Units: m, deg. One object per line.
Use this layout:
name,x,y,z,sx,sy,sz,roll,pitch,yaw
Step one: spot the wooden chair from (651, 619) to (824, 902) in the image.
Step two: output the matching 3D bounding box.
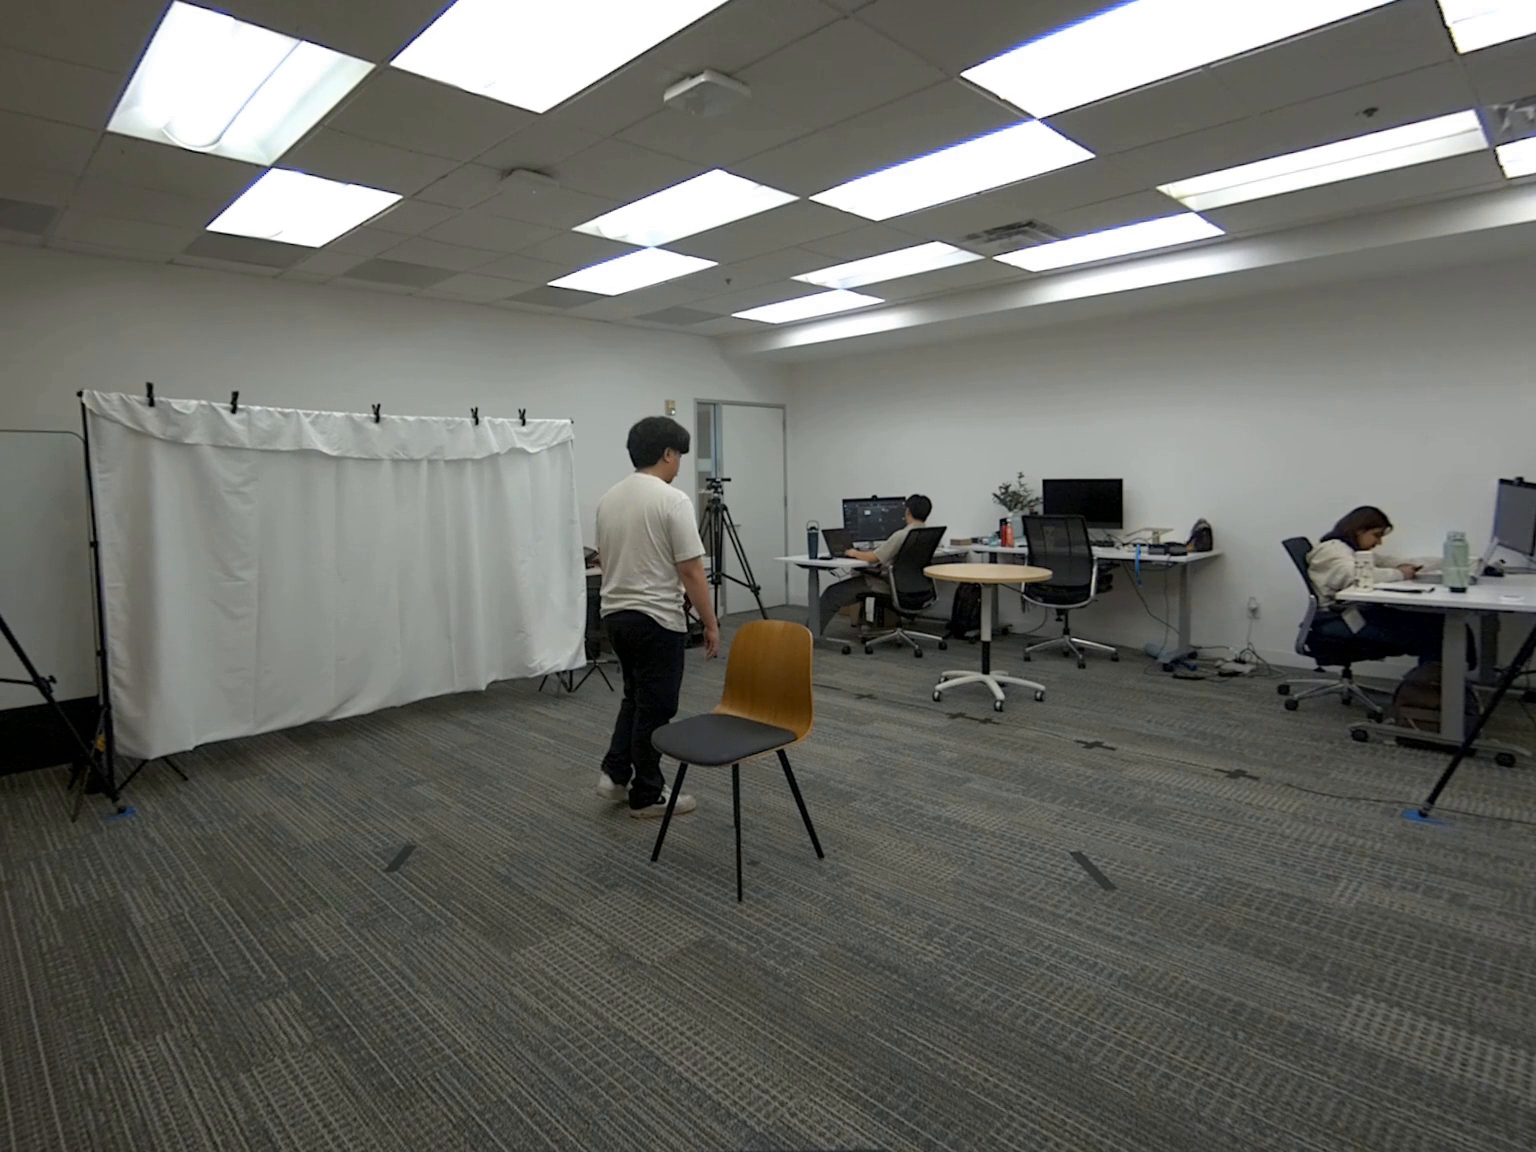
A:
wooden chair,-0.120,0.616,3.092,0.493,0.877,0.508,3,2,43
